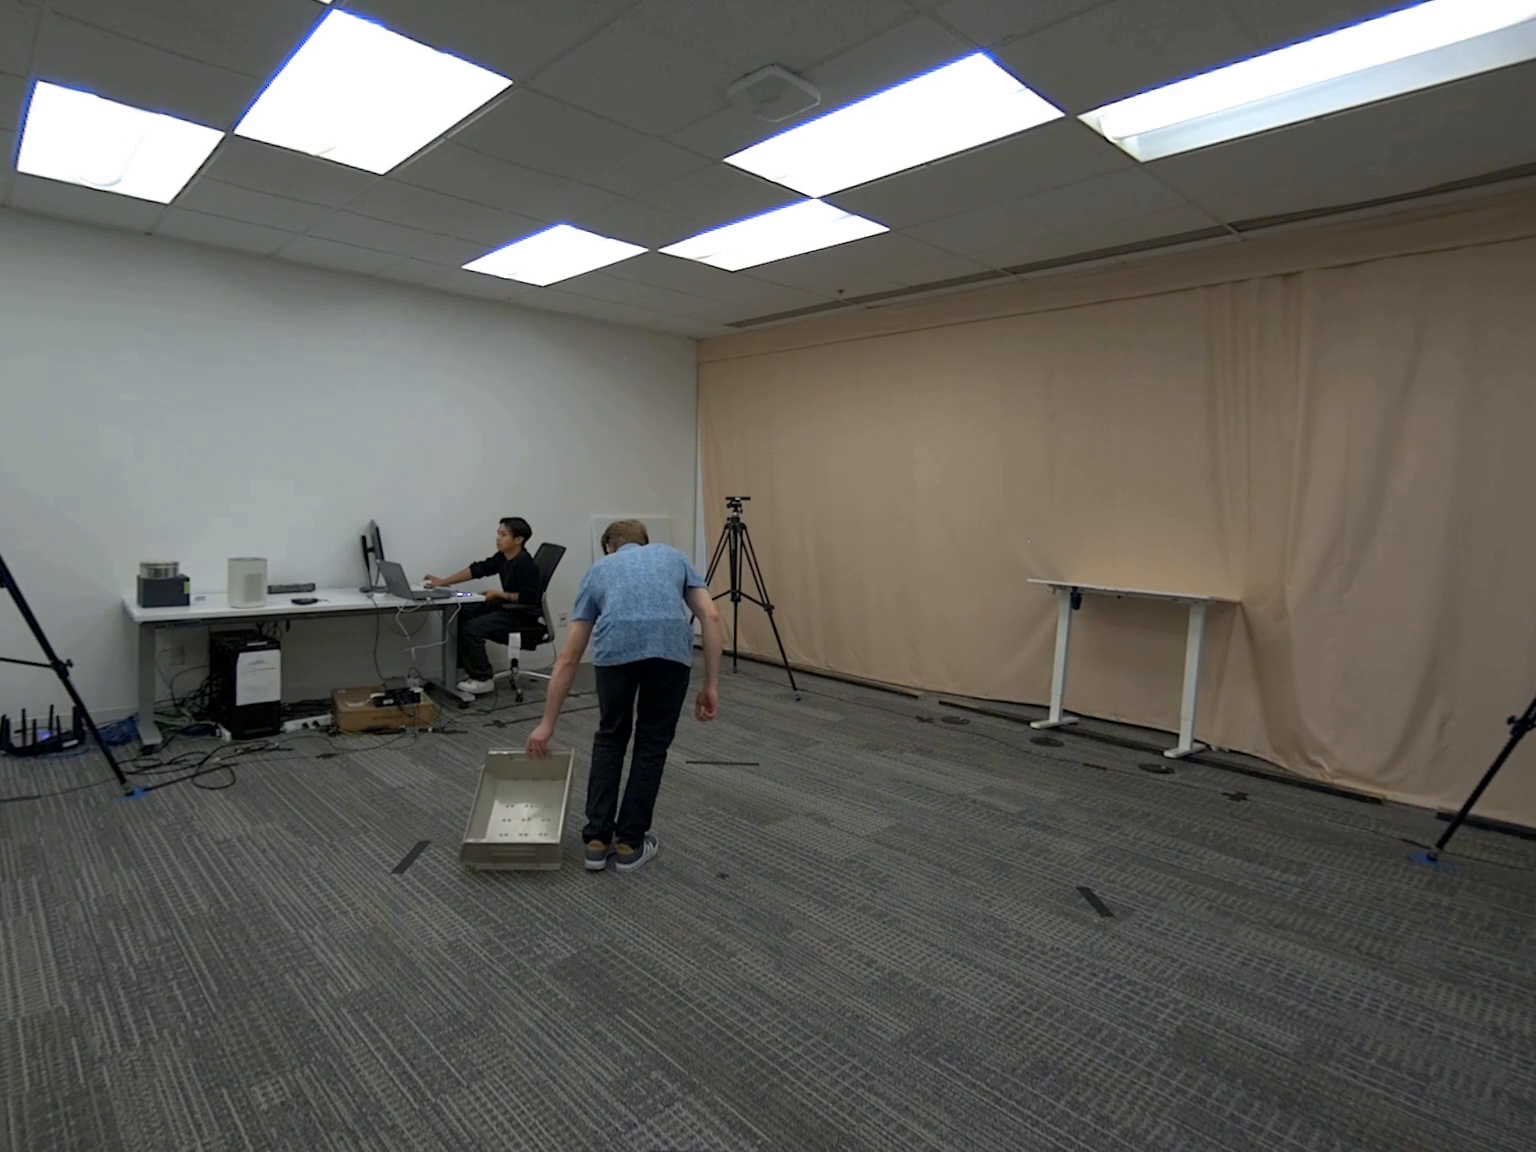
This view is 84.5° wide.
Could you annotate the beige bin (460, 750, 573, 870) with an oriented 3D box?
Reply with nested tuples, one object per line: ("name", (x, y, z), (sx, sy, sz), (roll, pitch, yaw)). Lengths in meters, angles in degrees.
("beige bin", (-0.960, 0.890, 3.224), (0.376, 0.185, 0.432), (1, 37, -4))
